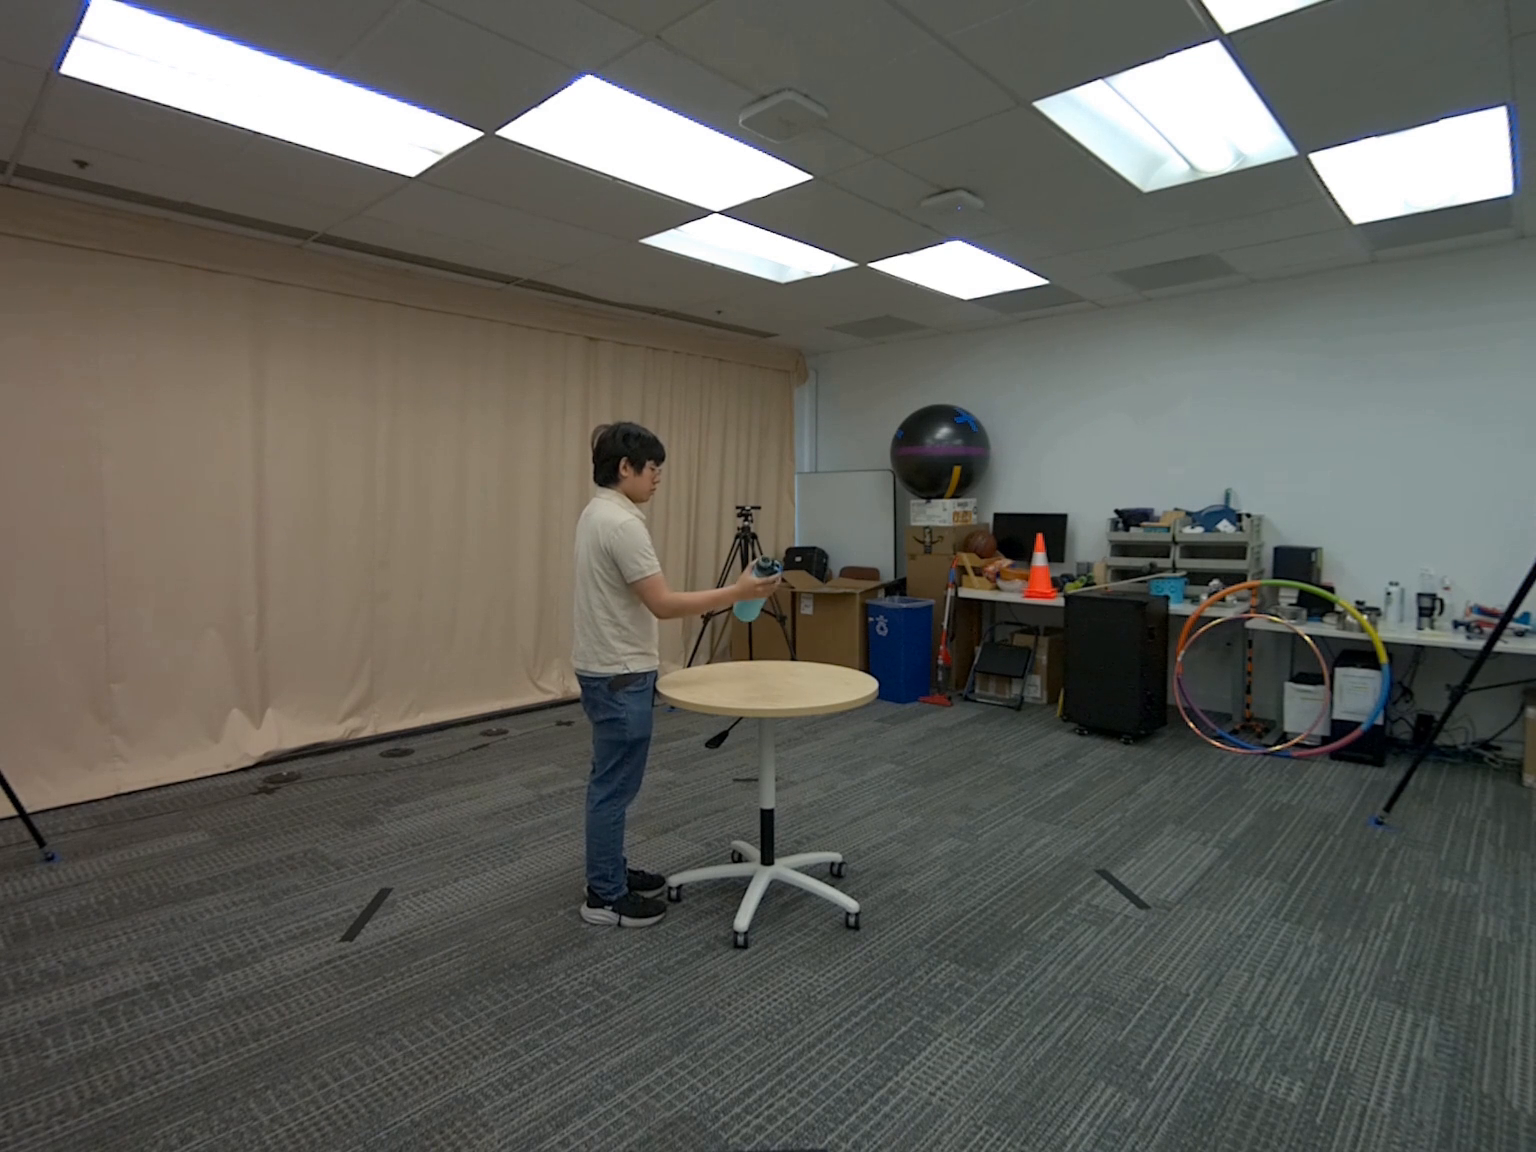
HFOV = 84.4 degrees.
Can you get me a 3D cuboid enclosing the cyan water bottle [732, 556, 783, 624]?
[{"bbox_3d":[-0.030,0.043,2.787,0.090,0.095,0.282,-1,-36,-24],"label":"cyan water bottle"}]
